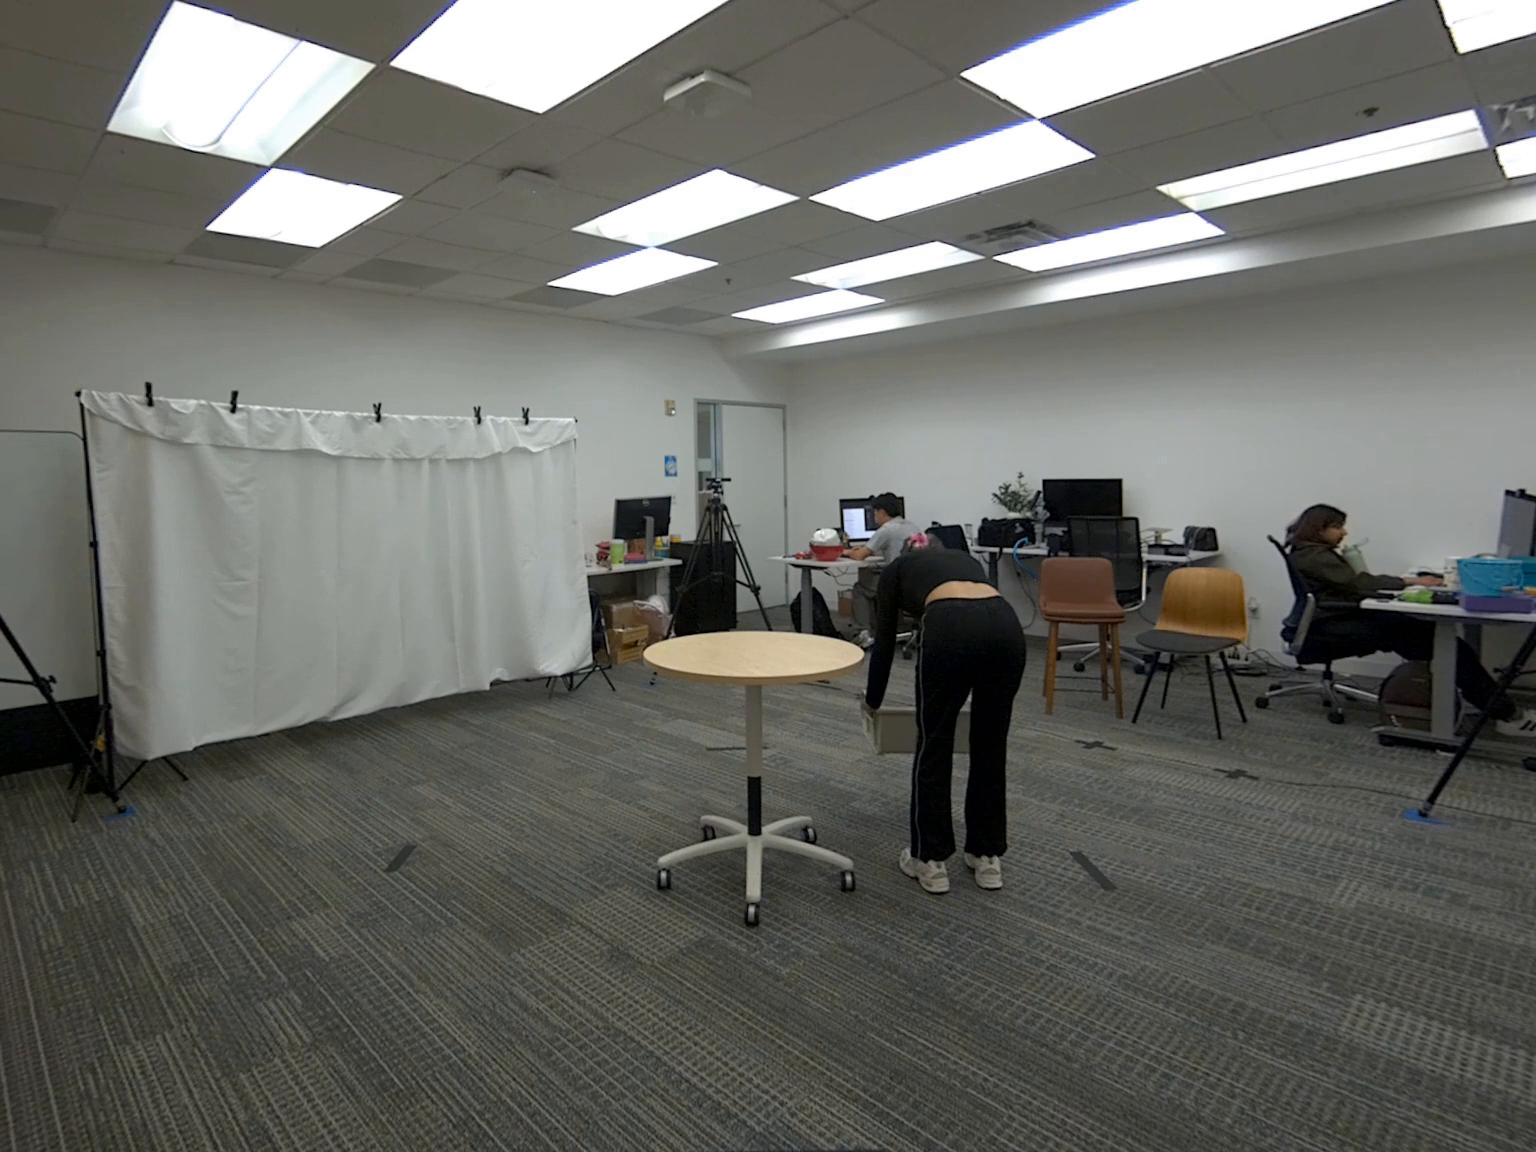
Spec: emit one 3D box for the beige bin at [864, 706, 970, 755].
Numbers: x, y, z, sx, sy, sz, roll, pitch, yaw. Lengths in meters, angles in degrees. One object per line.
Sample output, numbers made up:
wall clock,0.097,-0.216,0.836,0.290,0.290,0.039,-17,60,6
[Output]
beige bin,0.609,0.579,3.421,0.421,0.188,0.380,0,6,-3
